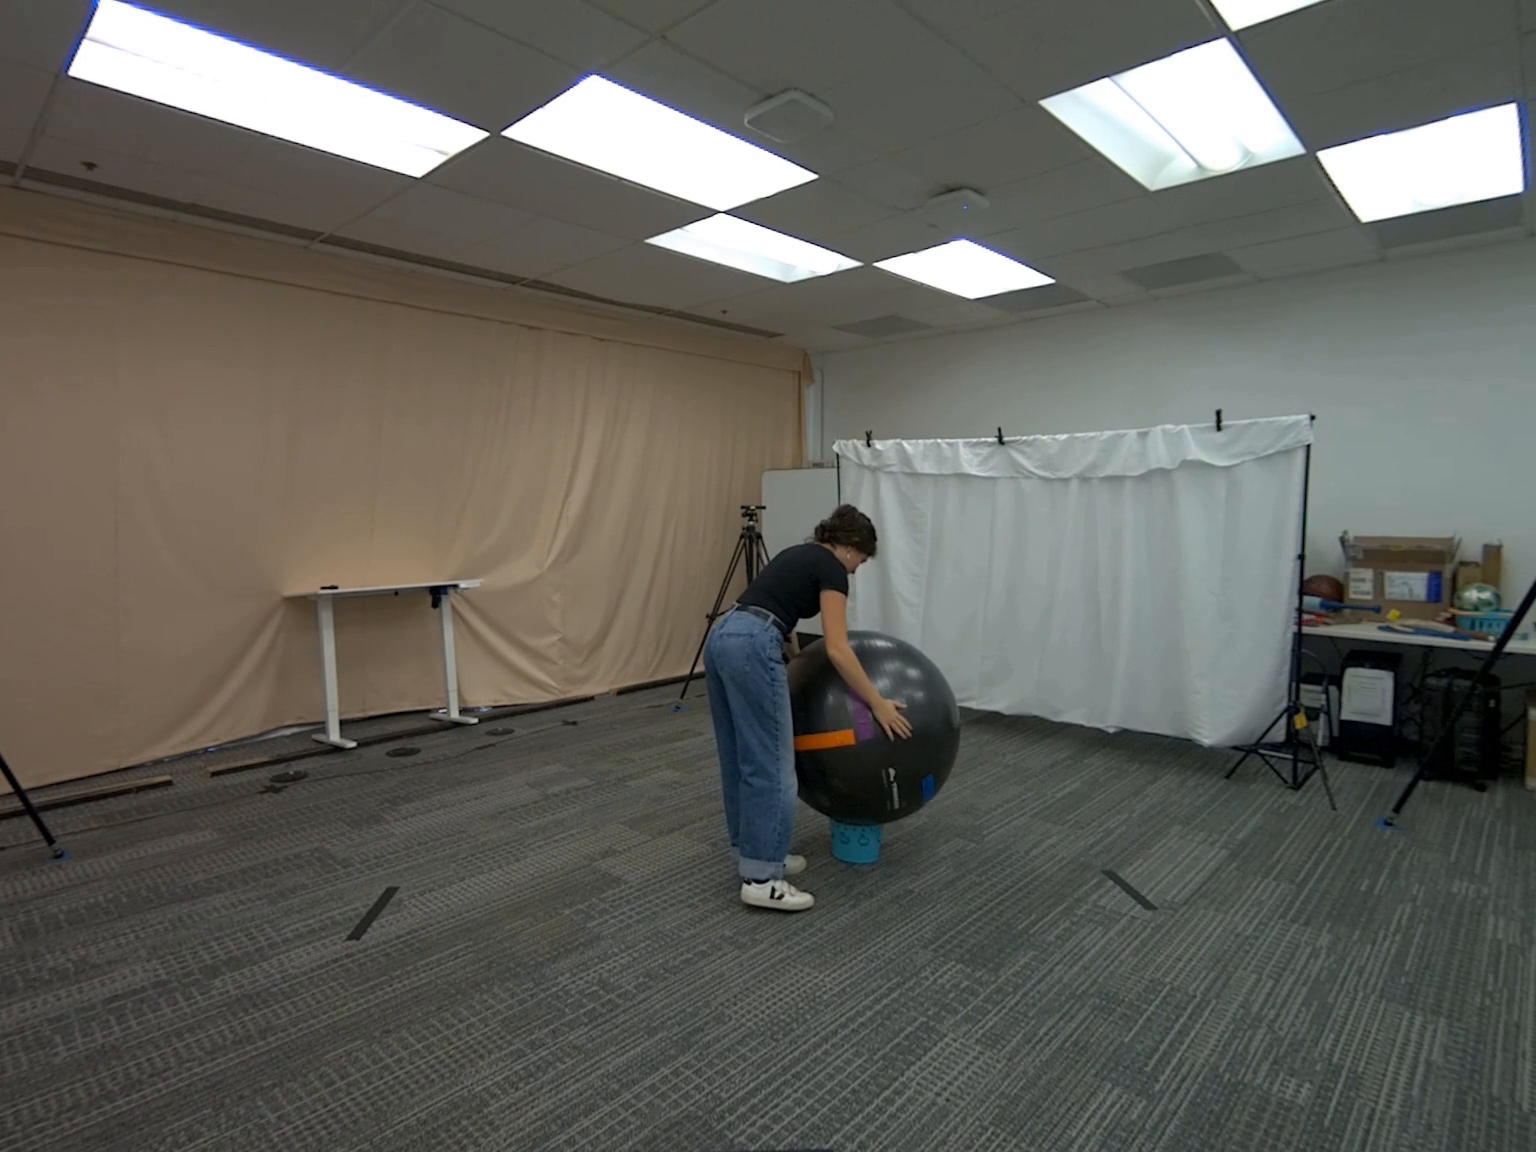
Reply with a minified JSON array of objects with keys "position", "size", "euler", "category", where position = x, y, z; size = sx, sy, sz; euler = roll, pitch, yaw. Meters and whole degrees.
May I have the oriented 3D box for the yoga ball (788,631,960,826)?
[{"position":[0.381,0.600,3.357],"size":[0.757,0.756,0.760],"euler":[0,4,-2],"category":"yoga ball"}]
